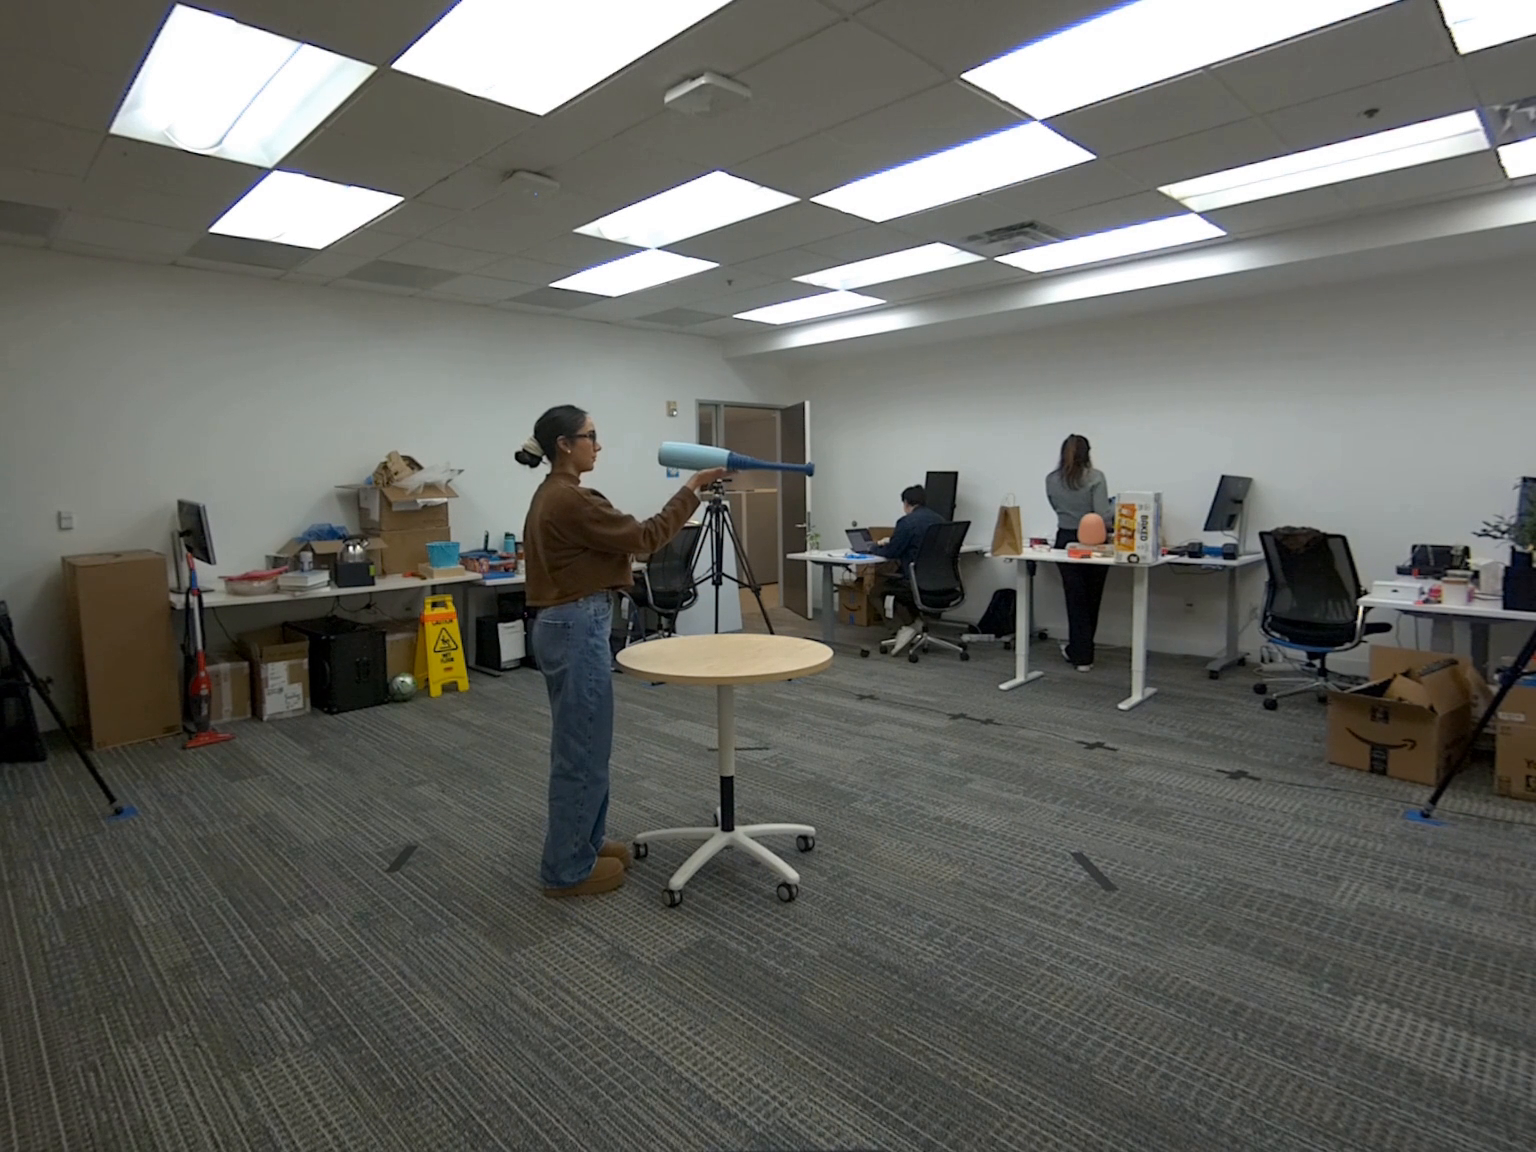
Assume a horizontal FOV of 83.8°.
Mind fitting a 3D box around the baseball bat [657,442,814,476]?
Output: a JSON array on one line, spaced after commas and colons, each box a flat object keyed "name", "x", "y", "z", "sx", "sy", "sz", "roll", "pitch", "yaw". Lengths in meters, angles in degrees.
[{"name": "baseball bat", "x": -0.110, "y": -0.387, "z": 2.904, "sx": 0.551, "sy": 0.088, "sz": 0.088, "roll": 7, "pitch": 6, "yaw": 13}]
